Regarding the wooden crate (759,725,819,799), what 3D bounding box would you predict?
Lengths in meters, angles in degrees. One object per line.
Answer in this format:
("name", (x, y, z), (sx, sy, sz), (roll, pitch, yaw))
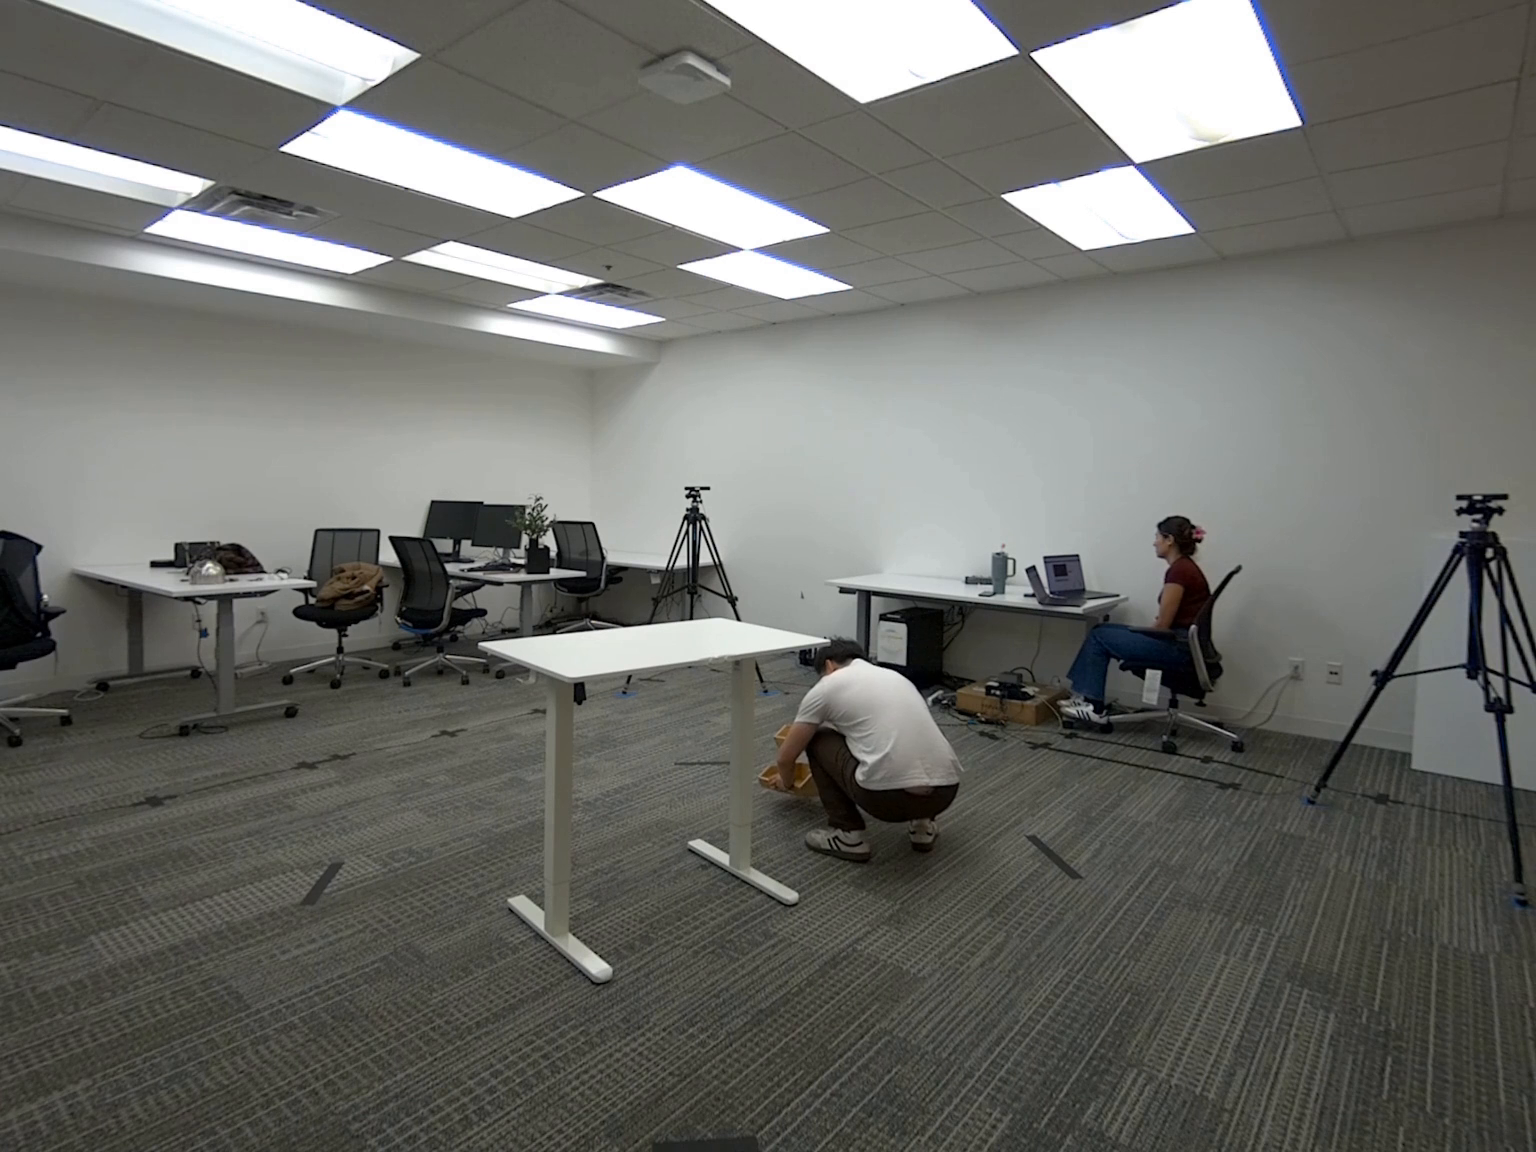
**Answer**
("wooden crate", (0.150, 0.790, 3.732), (0.293, 0.275, 0.332), (3, -6, -34))
